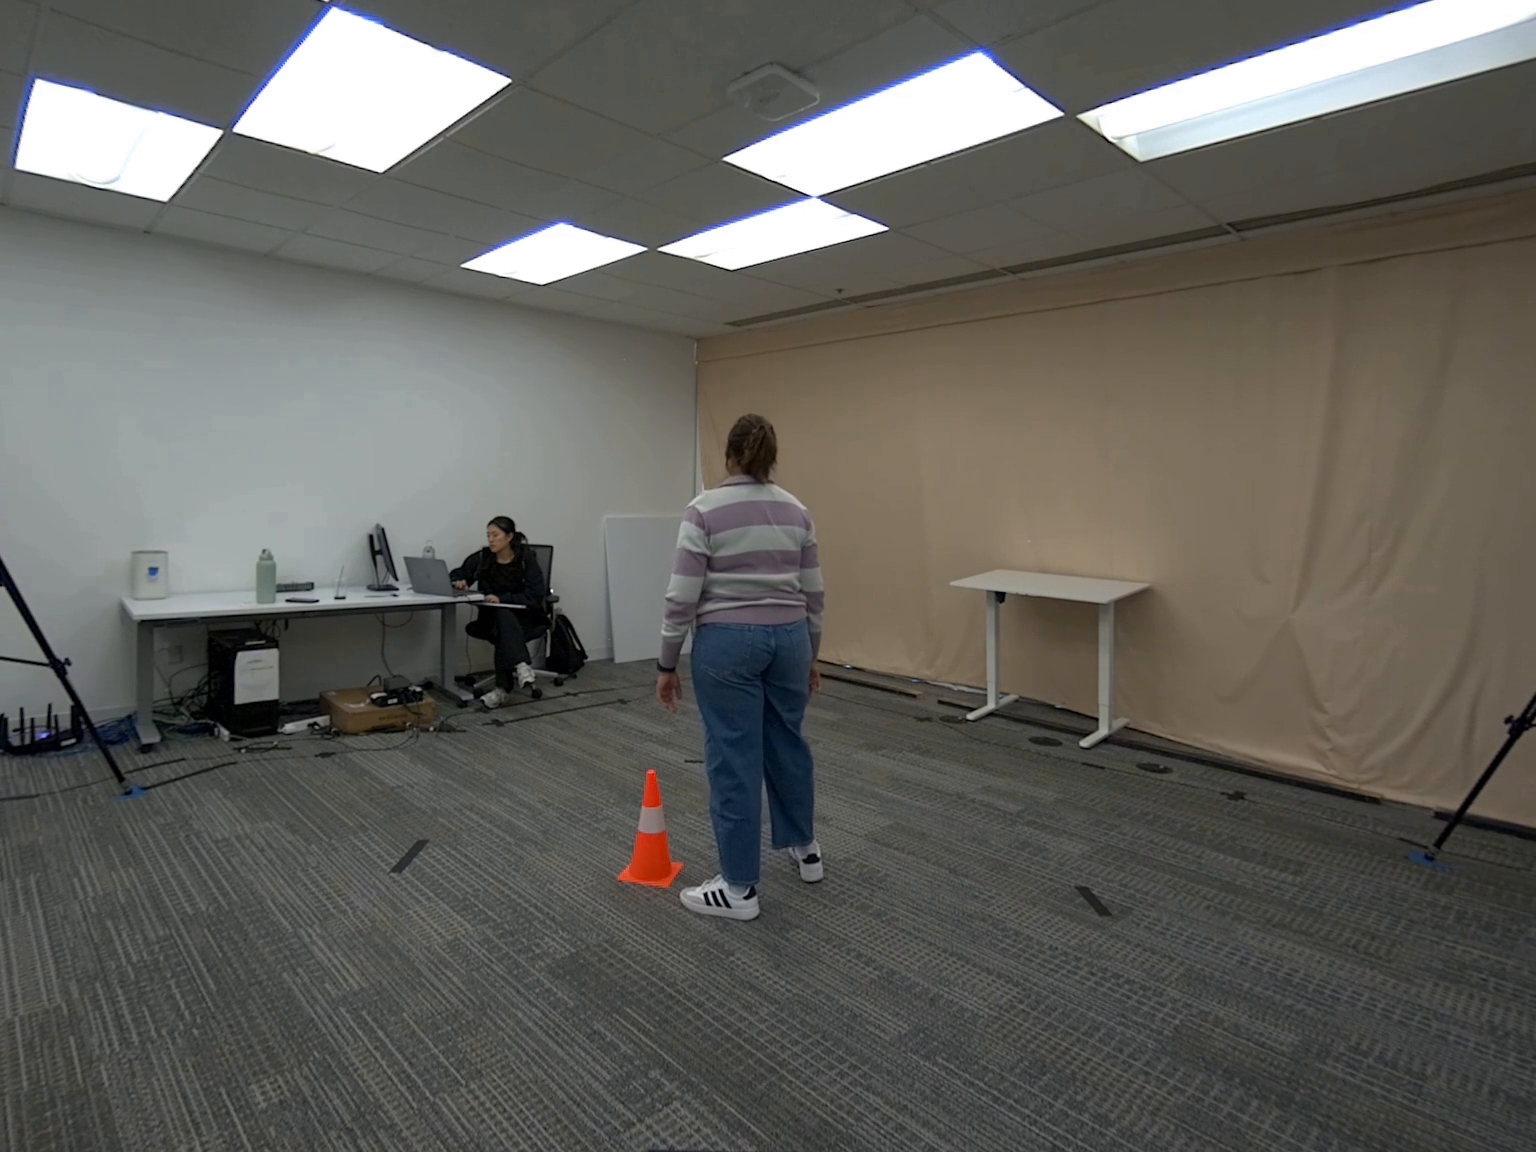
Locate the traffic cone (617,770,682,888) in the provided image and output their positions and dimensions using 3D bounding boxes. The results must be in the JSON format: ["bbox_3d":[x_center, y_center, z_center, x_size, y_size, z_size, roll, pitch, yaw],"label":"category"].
[{"bbox_3d":[-0.434,0.911,3.102,0.206,0.382,0.203,2,4,14],"label":"traffic cone"}]
